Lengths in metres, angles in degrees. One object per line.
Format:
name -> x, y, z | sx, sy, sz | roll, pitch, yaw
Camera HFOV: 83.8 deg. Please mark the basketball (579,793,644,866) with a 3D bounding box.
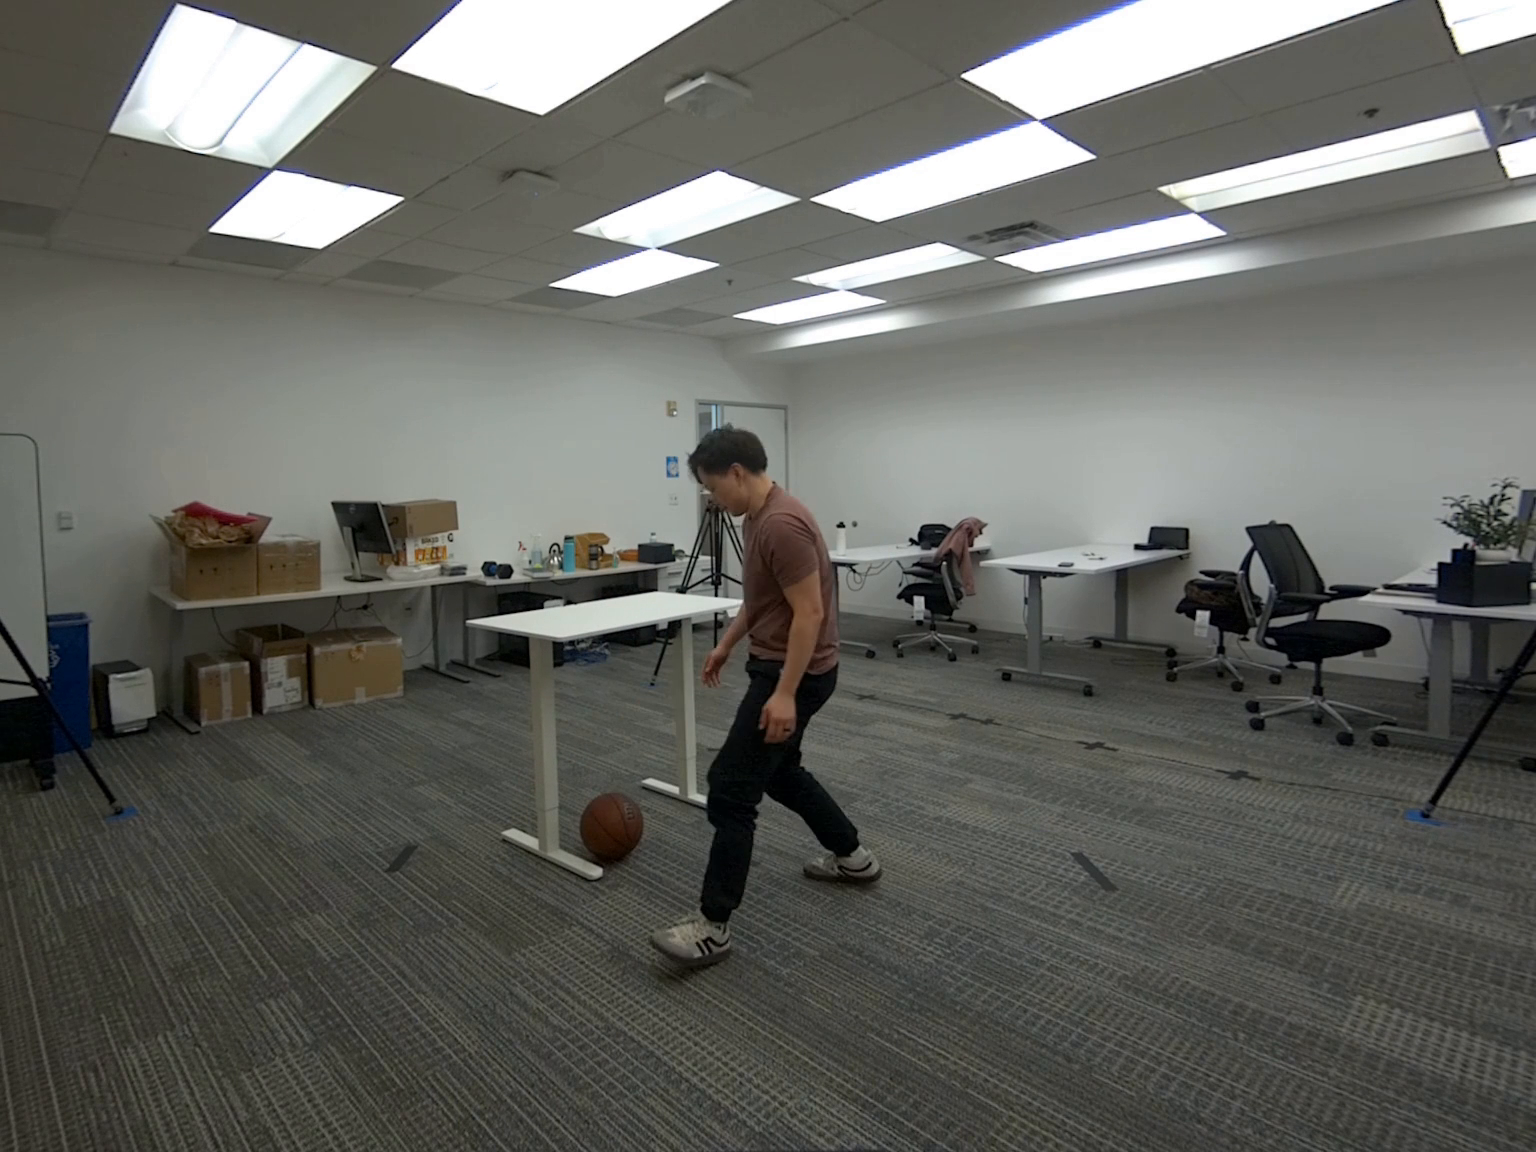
basketball -> -0.570, 0.931, 3.171 | 0.236, 0.235, 0.237 | -1, 5, -2
